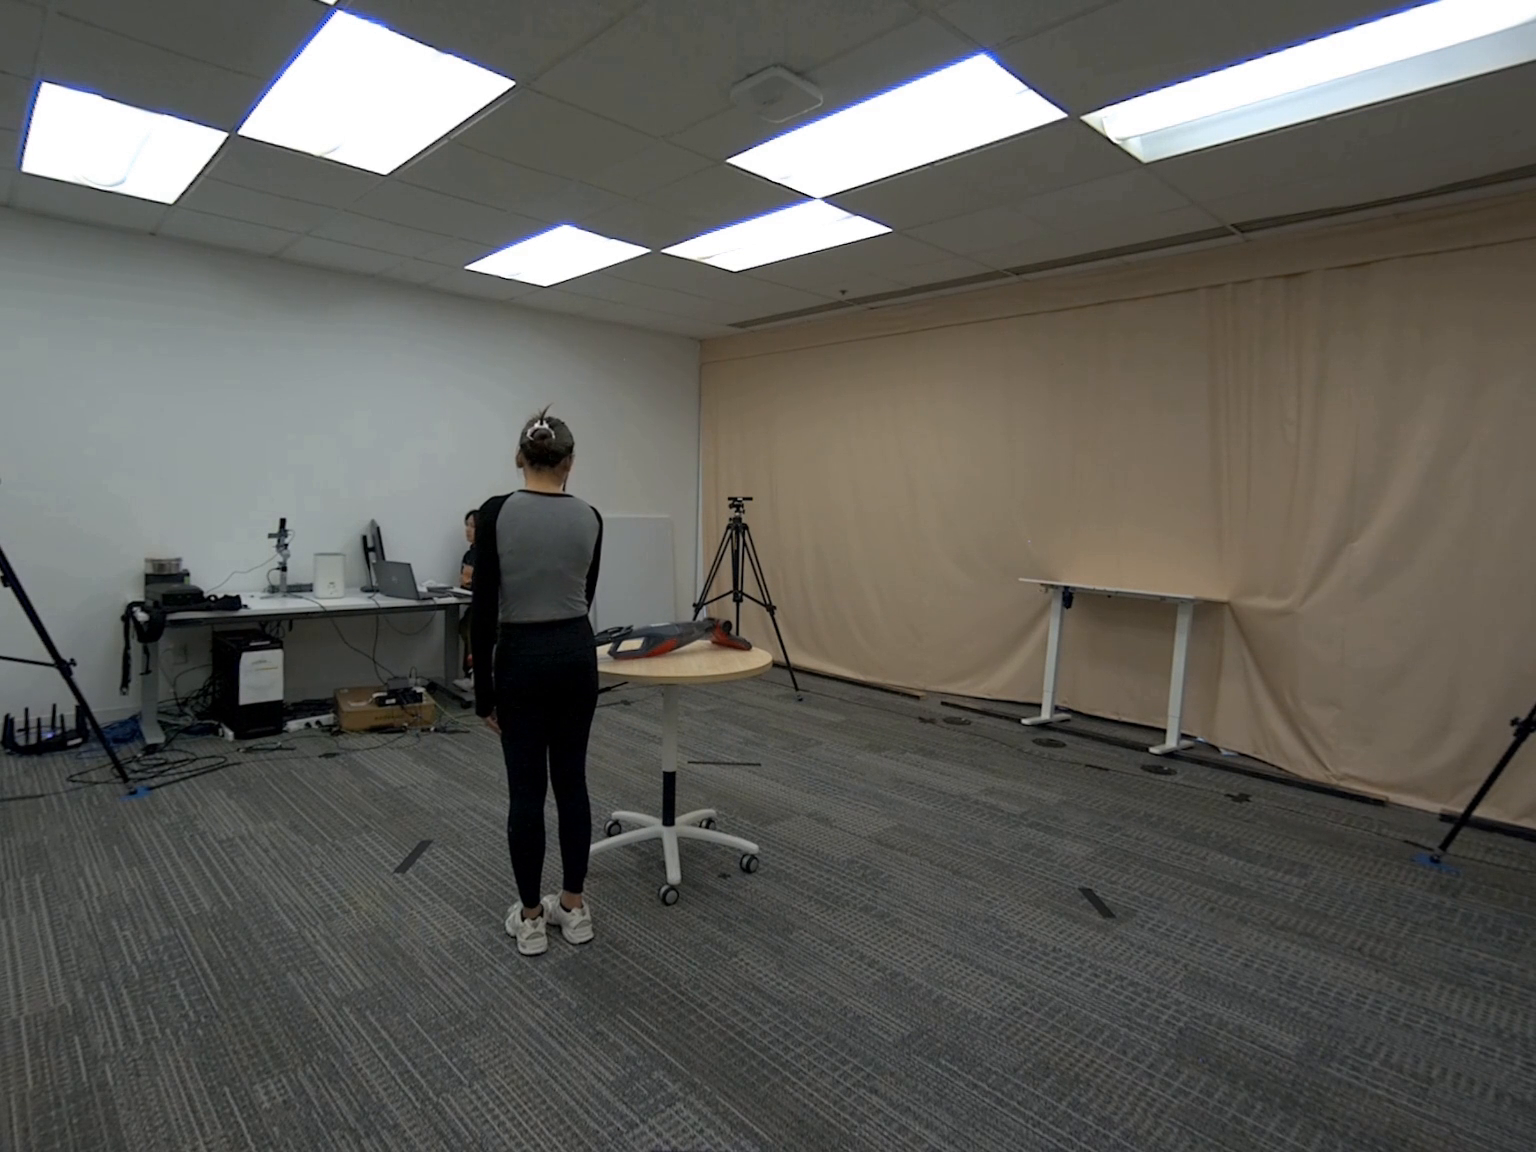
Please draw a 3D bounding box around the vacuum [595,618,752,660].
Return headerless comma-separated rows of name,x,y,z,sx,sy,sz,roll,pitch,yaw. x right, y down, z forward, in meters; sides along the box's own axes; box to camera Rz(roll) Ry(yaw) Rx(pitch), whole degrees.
vacuum,-0.558,0.251,3.064,1.025,0.144,0.259,-2,4,-41
